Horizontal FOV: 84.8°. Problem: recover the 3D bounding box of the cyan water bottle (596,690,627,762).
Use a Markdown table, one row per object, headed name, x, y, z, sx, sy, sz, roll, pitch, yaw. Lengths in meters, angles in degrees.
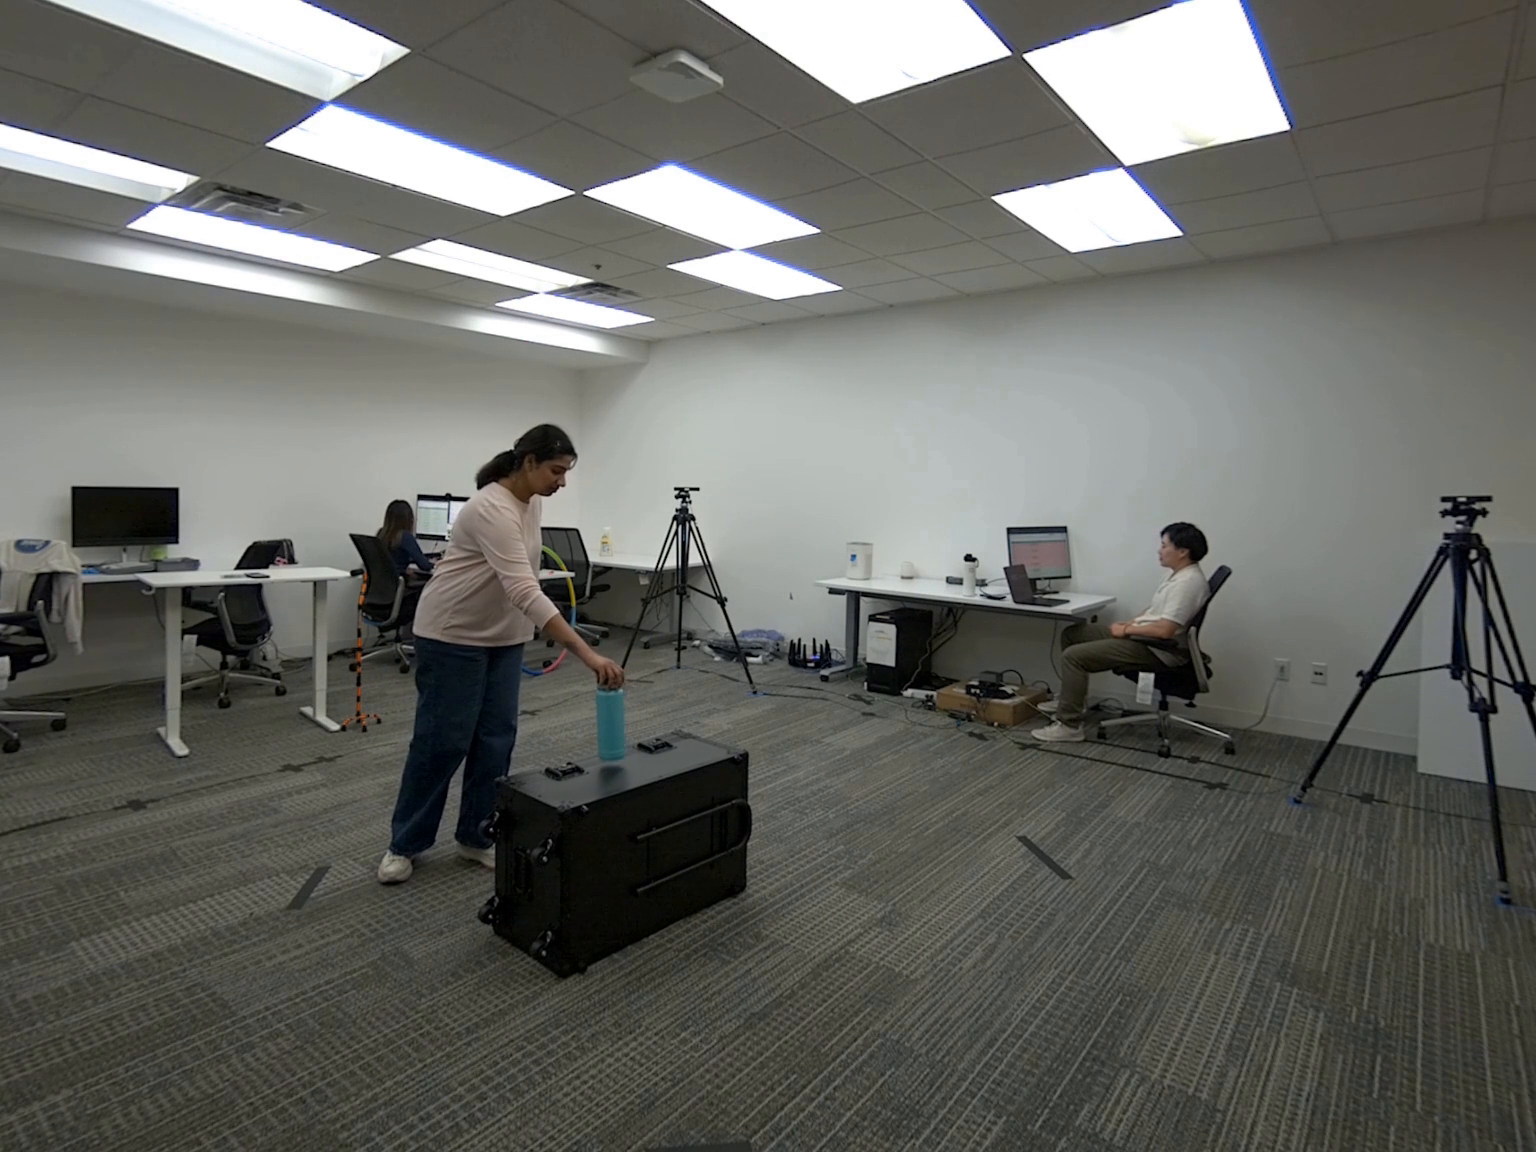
| name | x | y | z | sx | sy | sz | roll | pitch | yaw |
| --- | --- | --- | --- | --- | --- | --- | --- | --- | --- |
| cyan water bottle | -0.527 | 0.446 | 2.753 | 0.092 | 0.283 | 0.092 | -2 | 2 | -2 |
